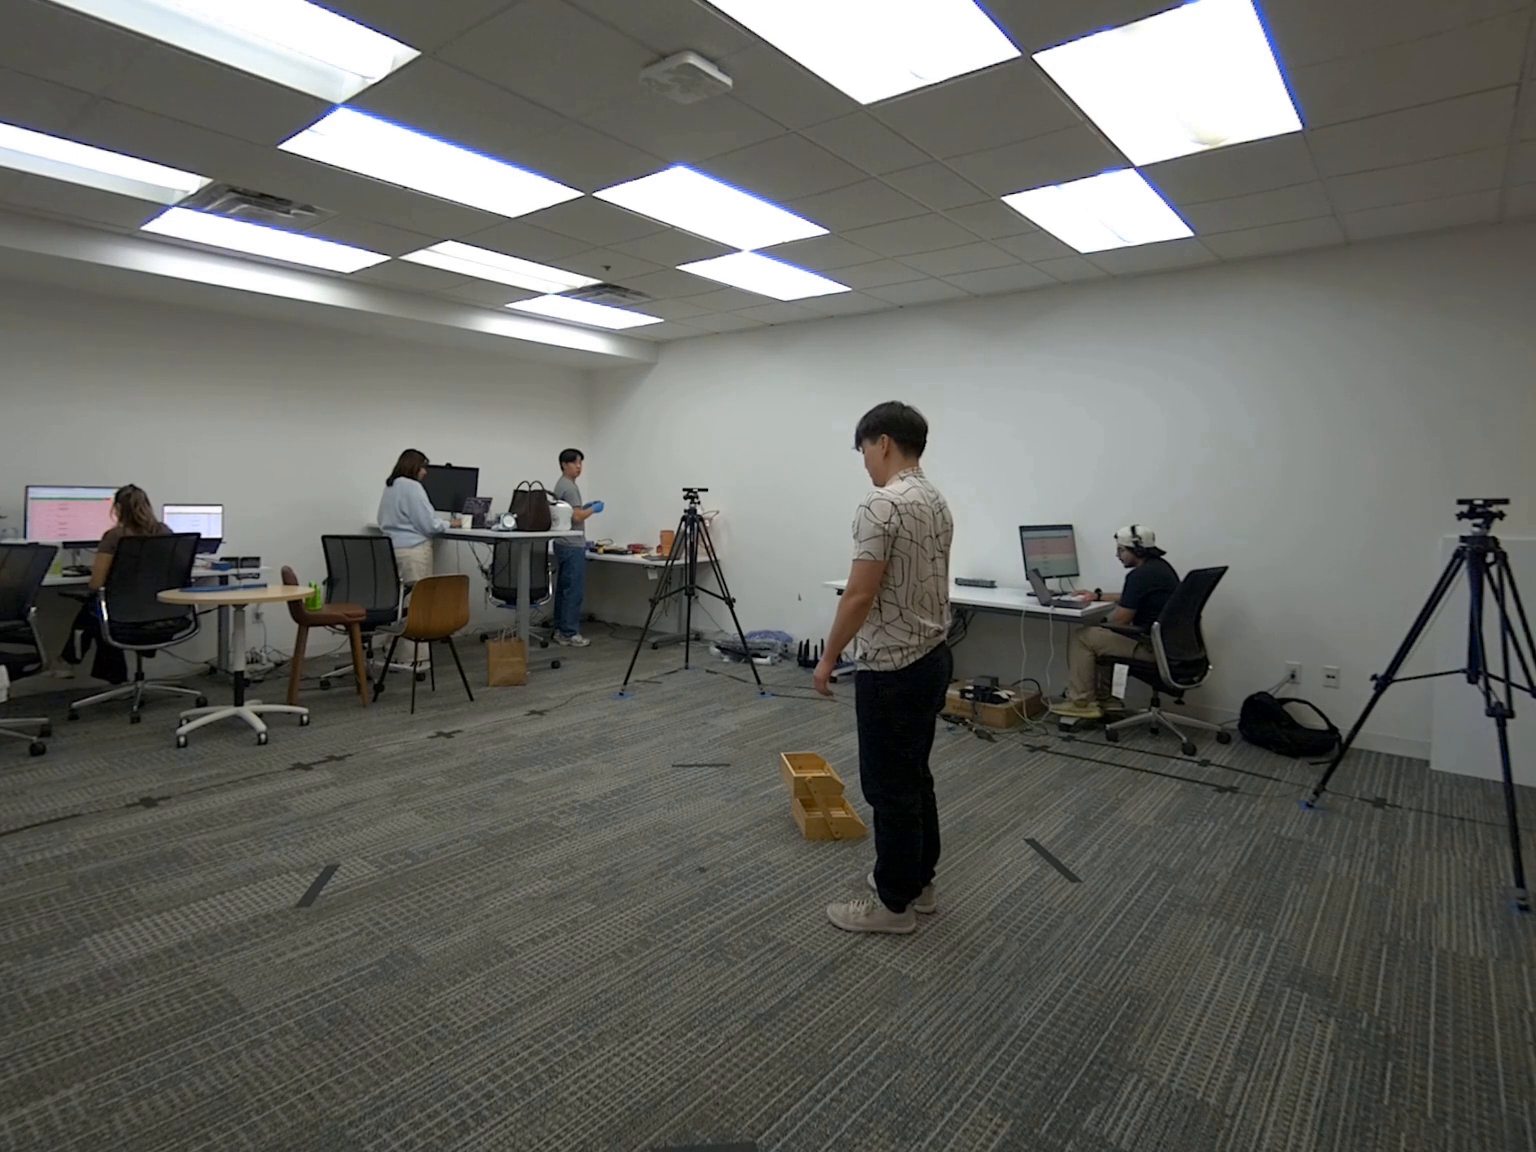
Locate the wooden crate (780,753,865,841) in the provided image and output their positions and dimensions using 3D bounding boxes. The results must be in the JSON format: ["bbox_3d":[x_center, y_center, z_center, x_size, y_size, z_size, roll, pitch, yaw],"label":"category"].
[{"bbox_3d":[0.224,0.902,3.549,0.299,0.272,0.329,1,4,-10],"label":"wooden crate"}]
